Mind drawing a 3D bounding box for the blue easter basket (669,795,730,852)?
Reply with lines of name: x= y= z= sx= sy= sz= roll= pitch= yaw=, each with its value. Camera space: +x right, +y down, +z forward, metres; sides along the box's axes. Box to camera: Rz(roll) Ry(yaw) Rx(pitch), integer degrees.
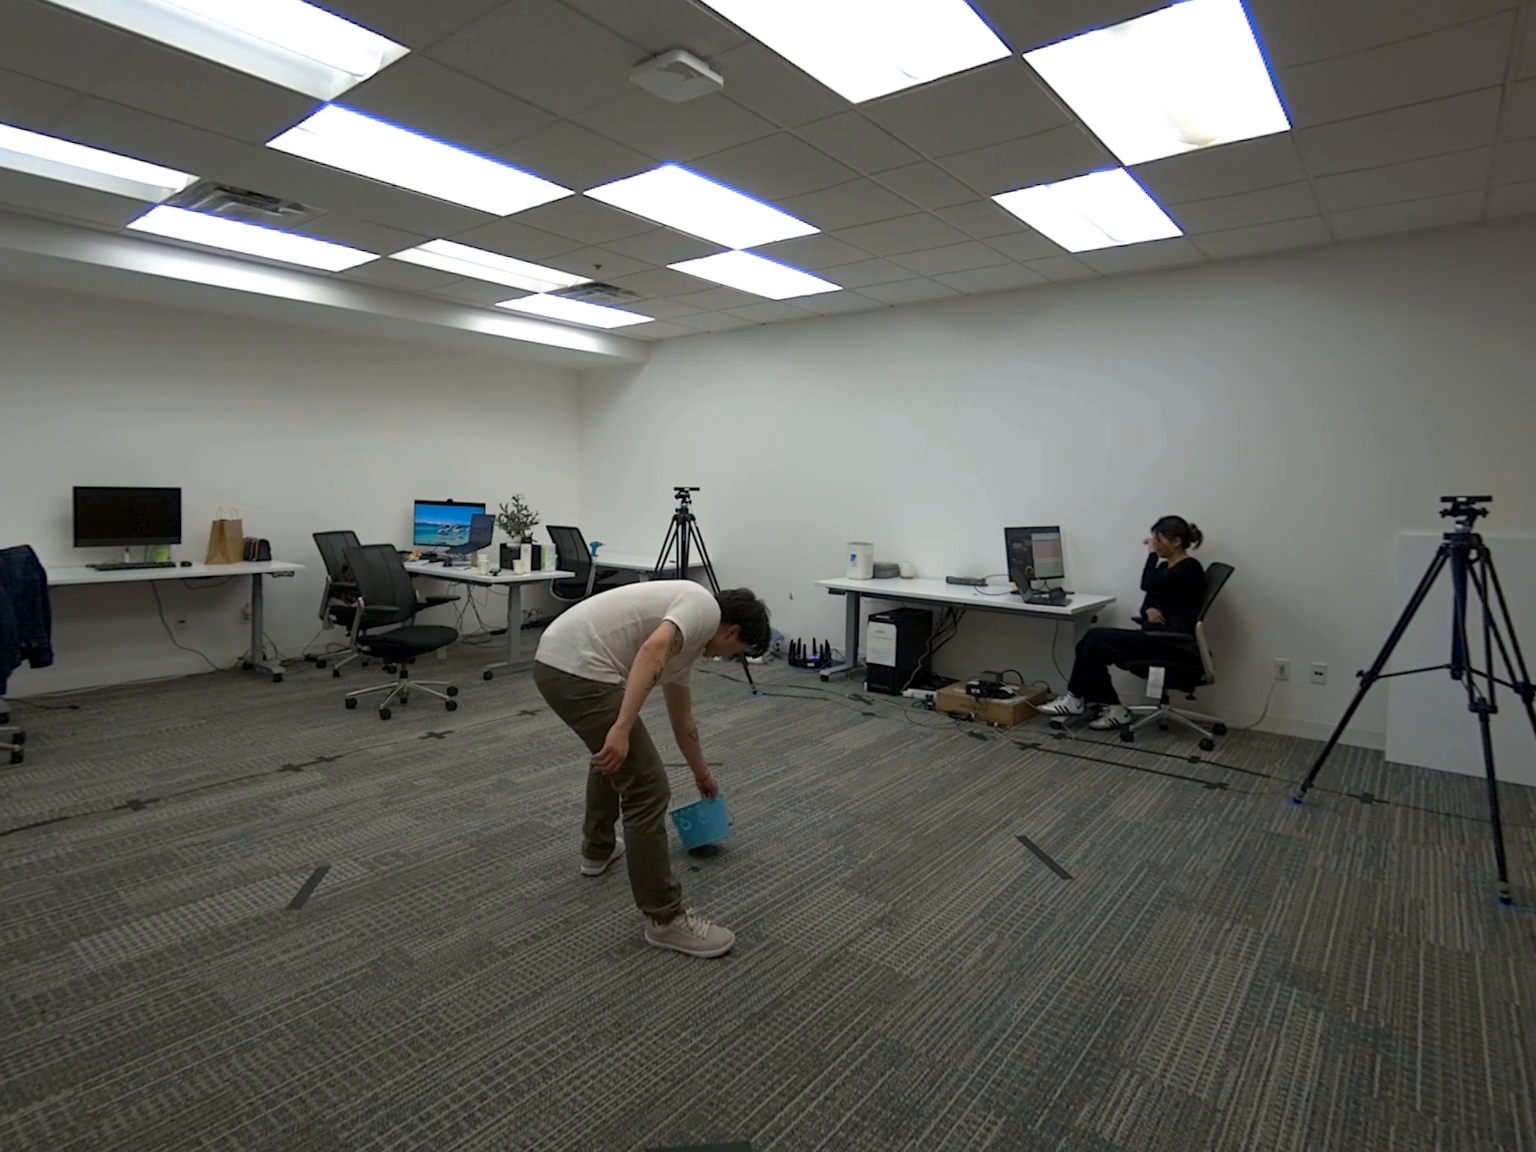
blue easter basket: x=-0.277 y=0.945 z=3.264 sx=0.243 sy=0.158 sz=0.241 roll=-19 pitch=-10 yaw=-6
